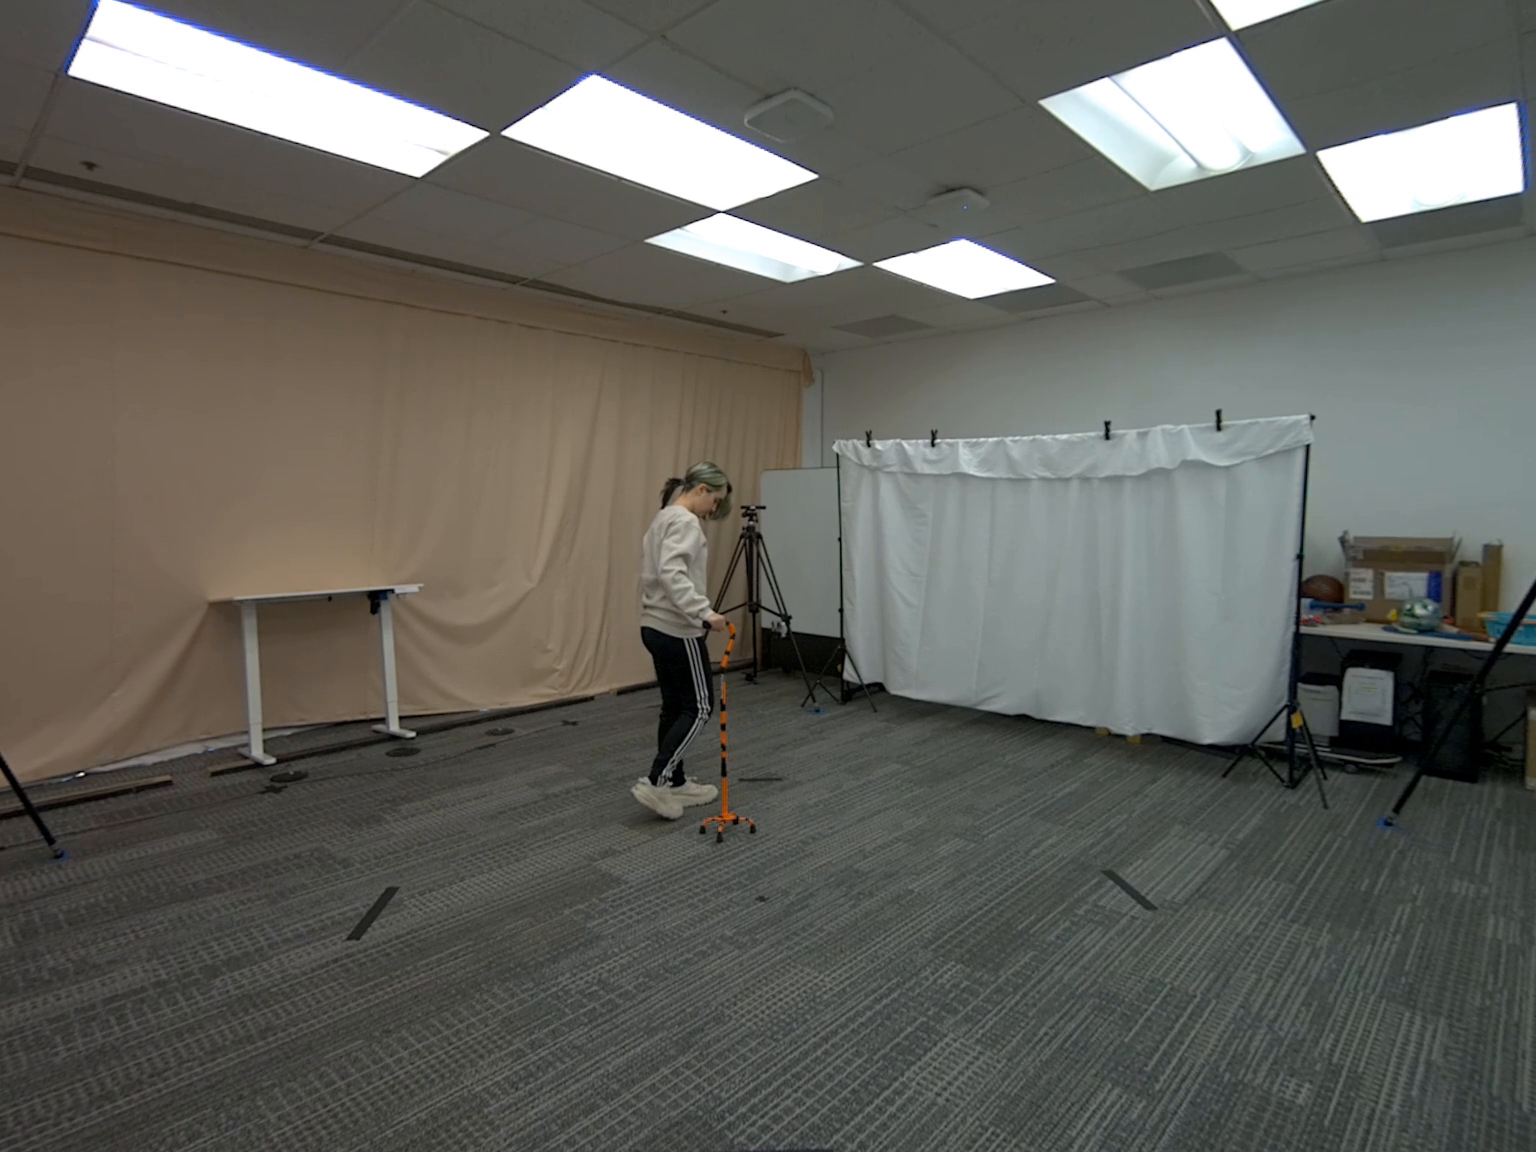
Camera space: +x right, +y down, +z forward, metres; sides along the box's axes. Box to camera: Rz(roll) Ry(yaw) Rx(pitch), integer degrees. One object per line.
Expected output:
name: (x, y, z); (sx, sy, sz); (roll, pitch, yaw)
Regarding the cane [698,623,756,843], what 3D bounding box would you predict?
cane: (-0.174, 0.642, 3.577); (0.200, 0.907, 0.156); (-2, 2, -37)
